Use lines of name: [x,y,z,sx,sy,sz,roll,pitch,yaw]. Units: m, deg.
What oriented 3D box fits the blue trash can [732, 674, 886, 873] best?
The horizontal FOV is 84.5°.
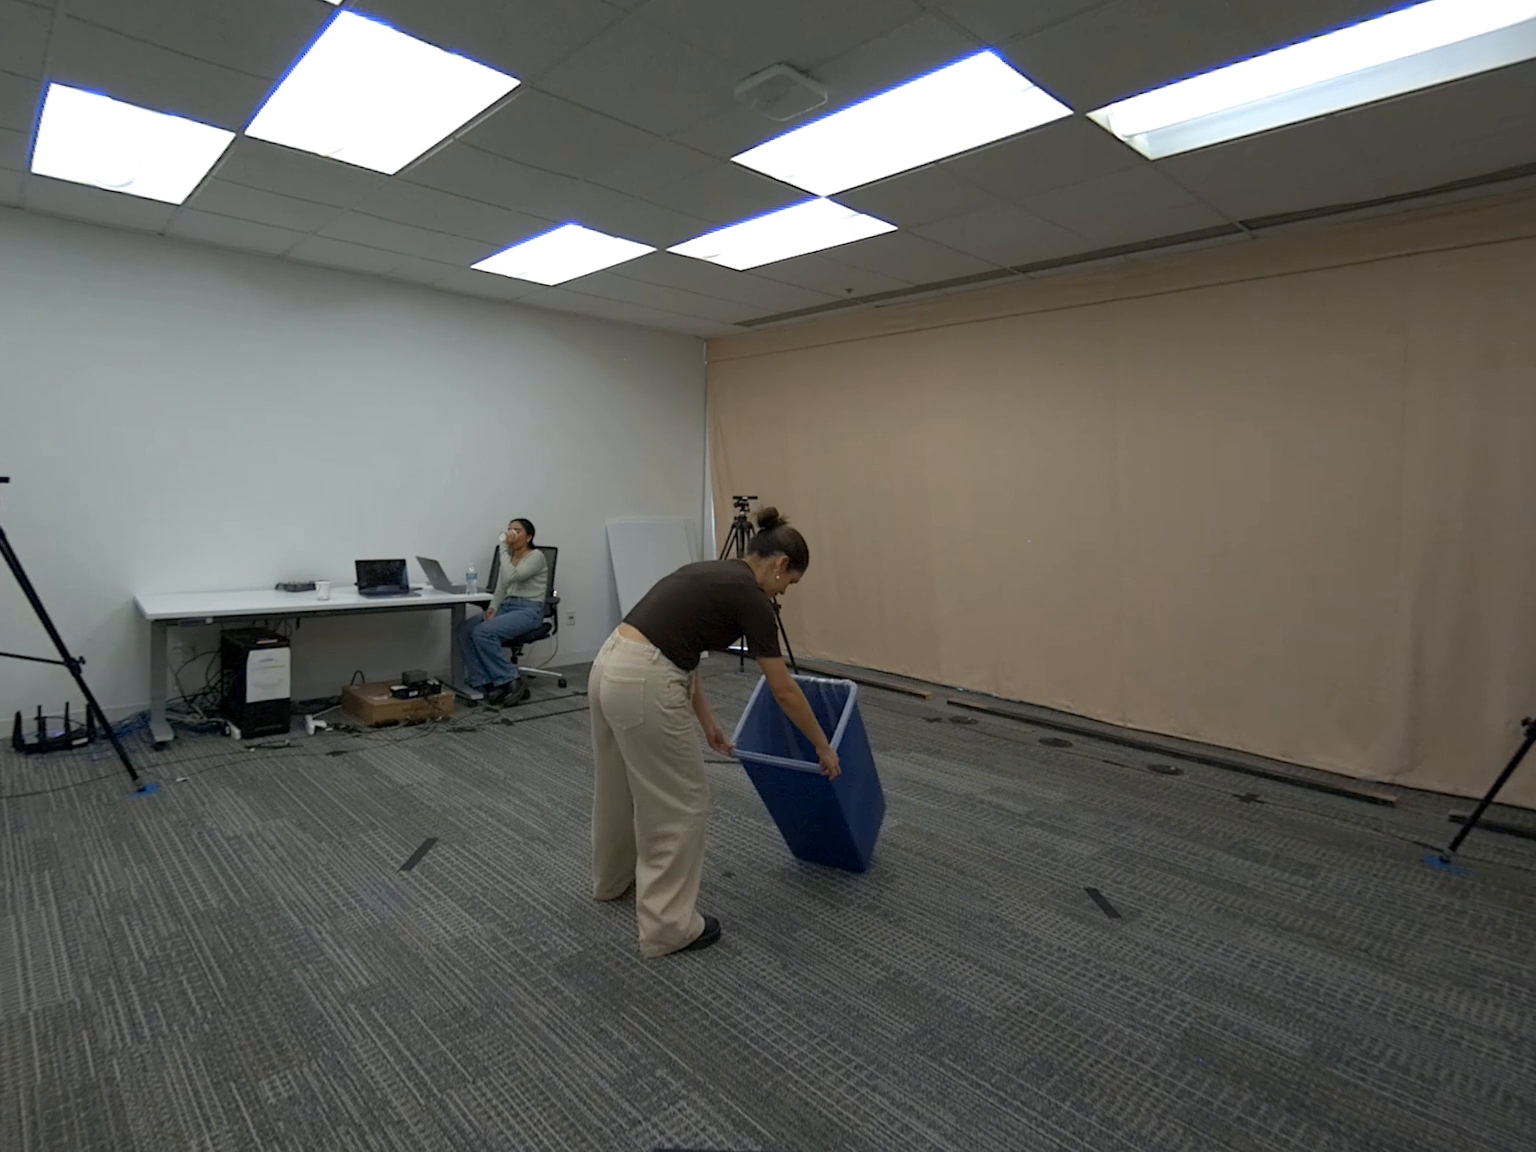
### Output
blue trash can: [0.178,0.742,3.070,0.386,0.694,0.376,2,42,29]
